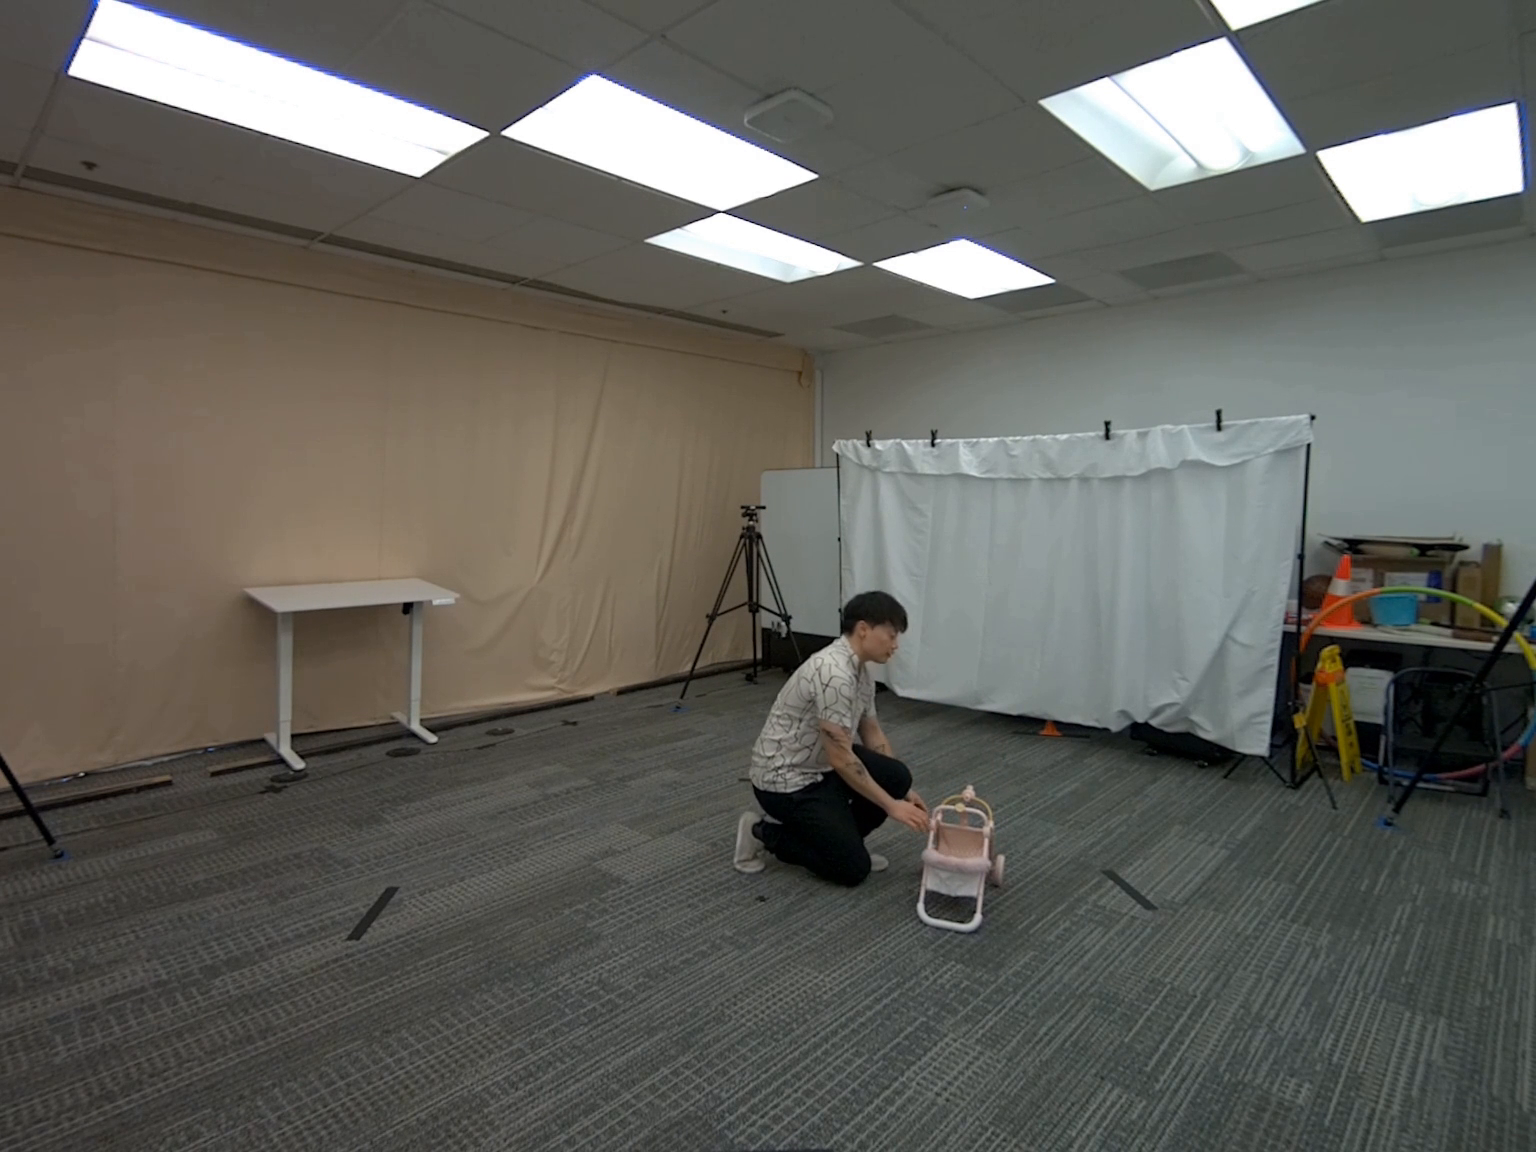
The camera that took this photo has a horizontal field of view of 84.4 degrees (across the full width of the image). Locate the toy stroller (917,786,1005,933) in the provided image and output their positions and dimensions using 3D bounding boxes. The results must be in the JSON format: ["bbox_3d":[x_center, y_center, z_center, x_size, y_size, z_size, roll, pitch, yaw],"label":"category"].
[{"bbox_3d":[0.694,0.980,2.987,0.288,0.340,0.523,6,5,23],"label":"toy stroller"}]
